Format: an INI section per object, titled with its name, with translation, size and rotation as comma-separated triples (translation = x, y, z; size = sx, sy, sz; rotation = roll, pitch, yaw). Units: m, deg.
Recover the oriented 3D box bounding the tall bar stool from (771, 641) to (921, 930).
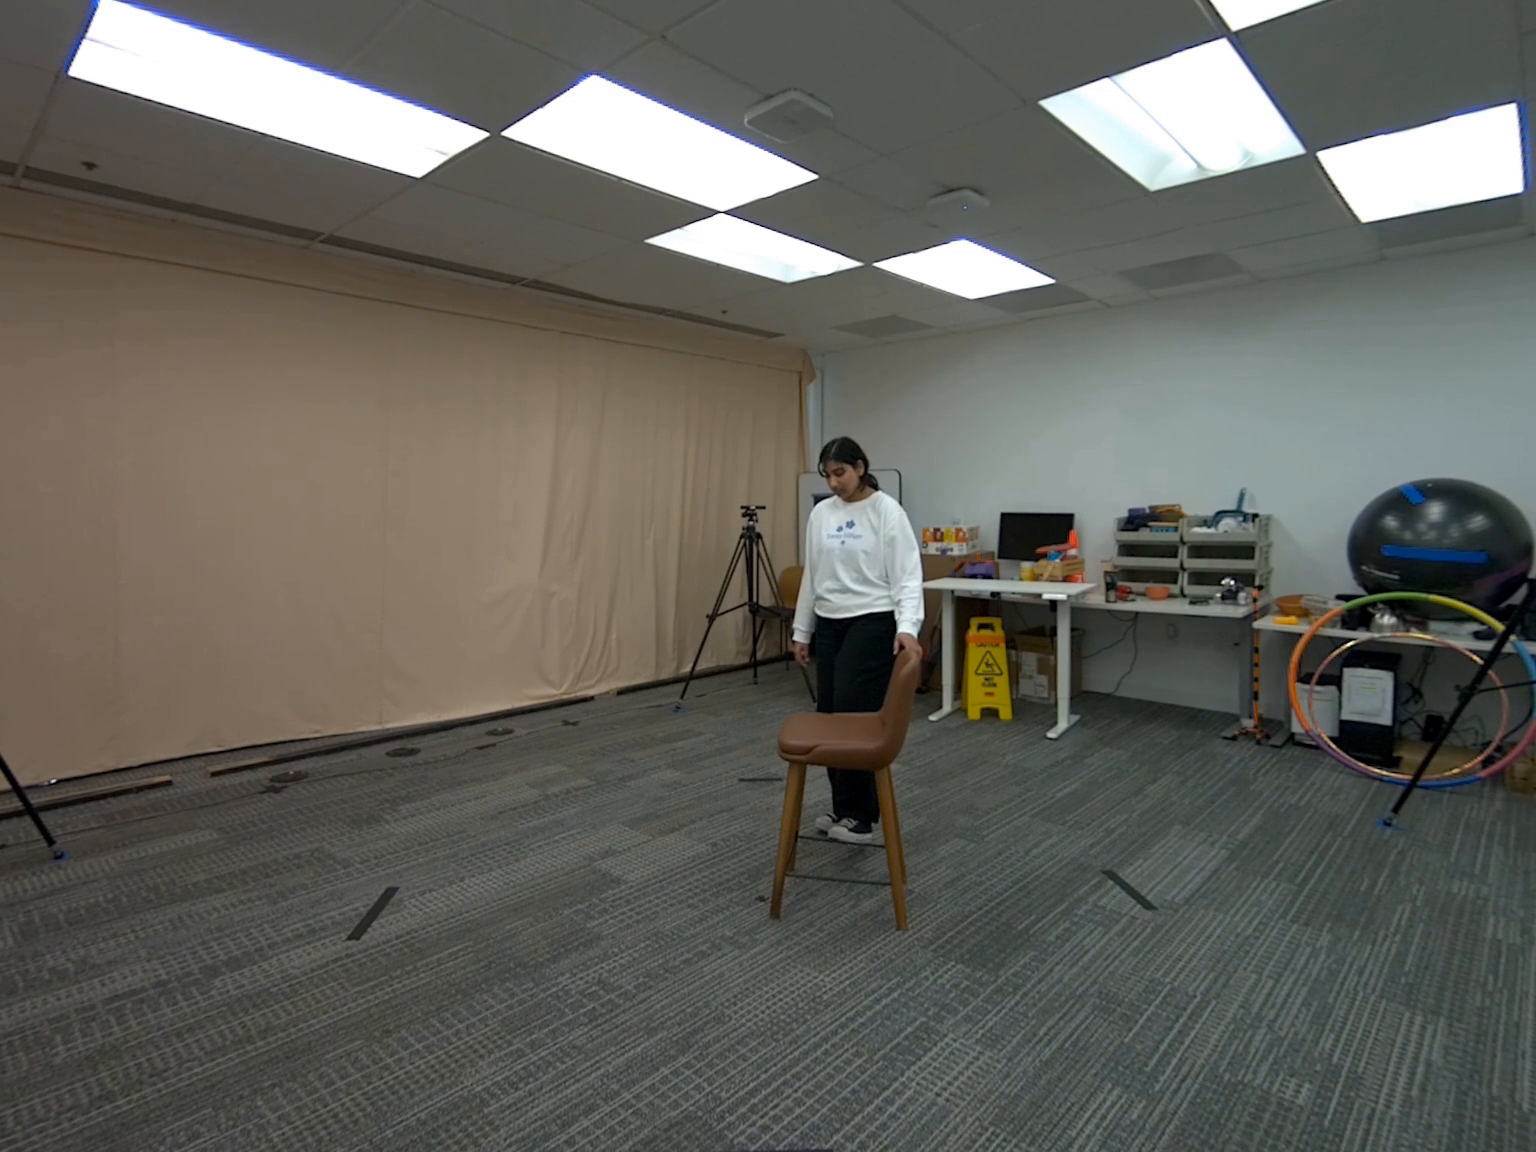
[tall bar stool]
translation = 0.270, 0.708, 2.963
size = 0.474, 0.888, 0.451
rotation = 2, 4, 12
